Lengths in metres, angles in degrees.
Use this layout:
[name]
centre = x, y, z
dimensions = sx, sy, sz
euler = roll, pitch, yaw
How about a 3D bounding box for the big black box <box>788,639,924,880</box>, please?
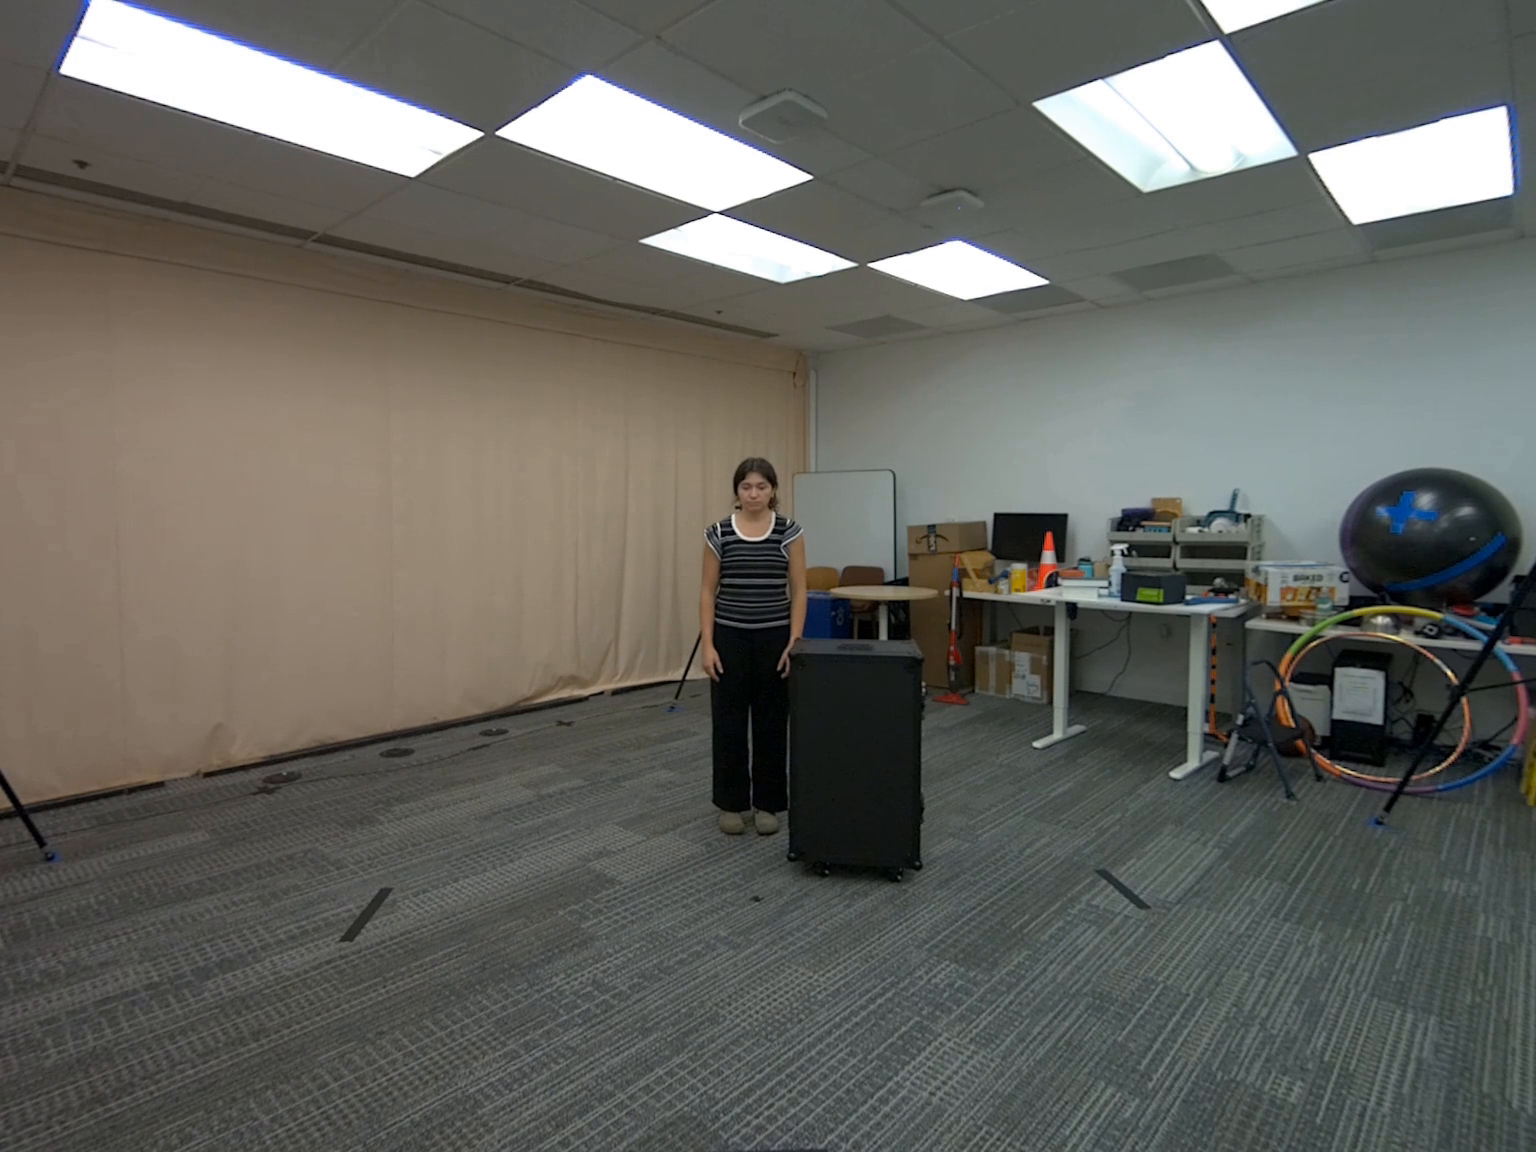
[big black box]
centre = 0.340, 0.693, 3.256
dimensions = 0.527, 0.860, 0.392
euler = 0, 3, 10
